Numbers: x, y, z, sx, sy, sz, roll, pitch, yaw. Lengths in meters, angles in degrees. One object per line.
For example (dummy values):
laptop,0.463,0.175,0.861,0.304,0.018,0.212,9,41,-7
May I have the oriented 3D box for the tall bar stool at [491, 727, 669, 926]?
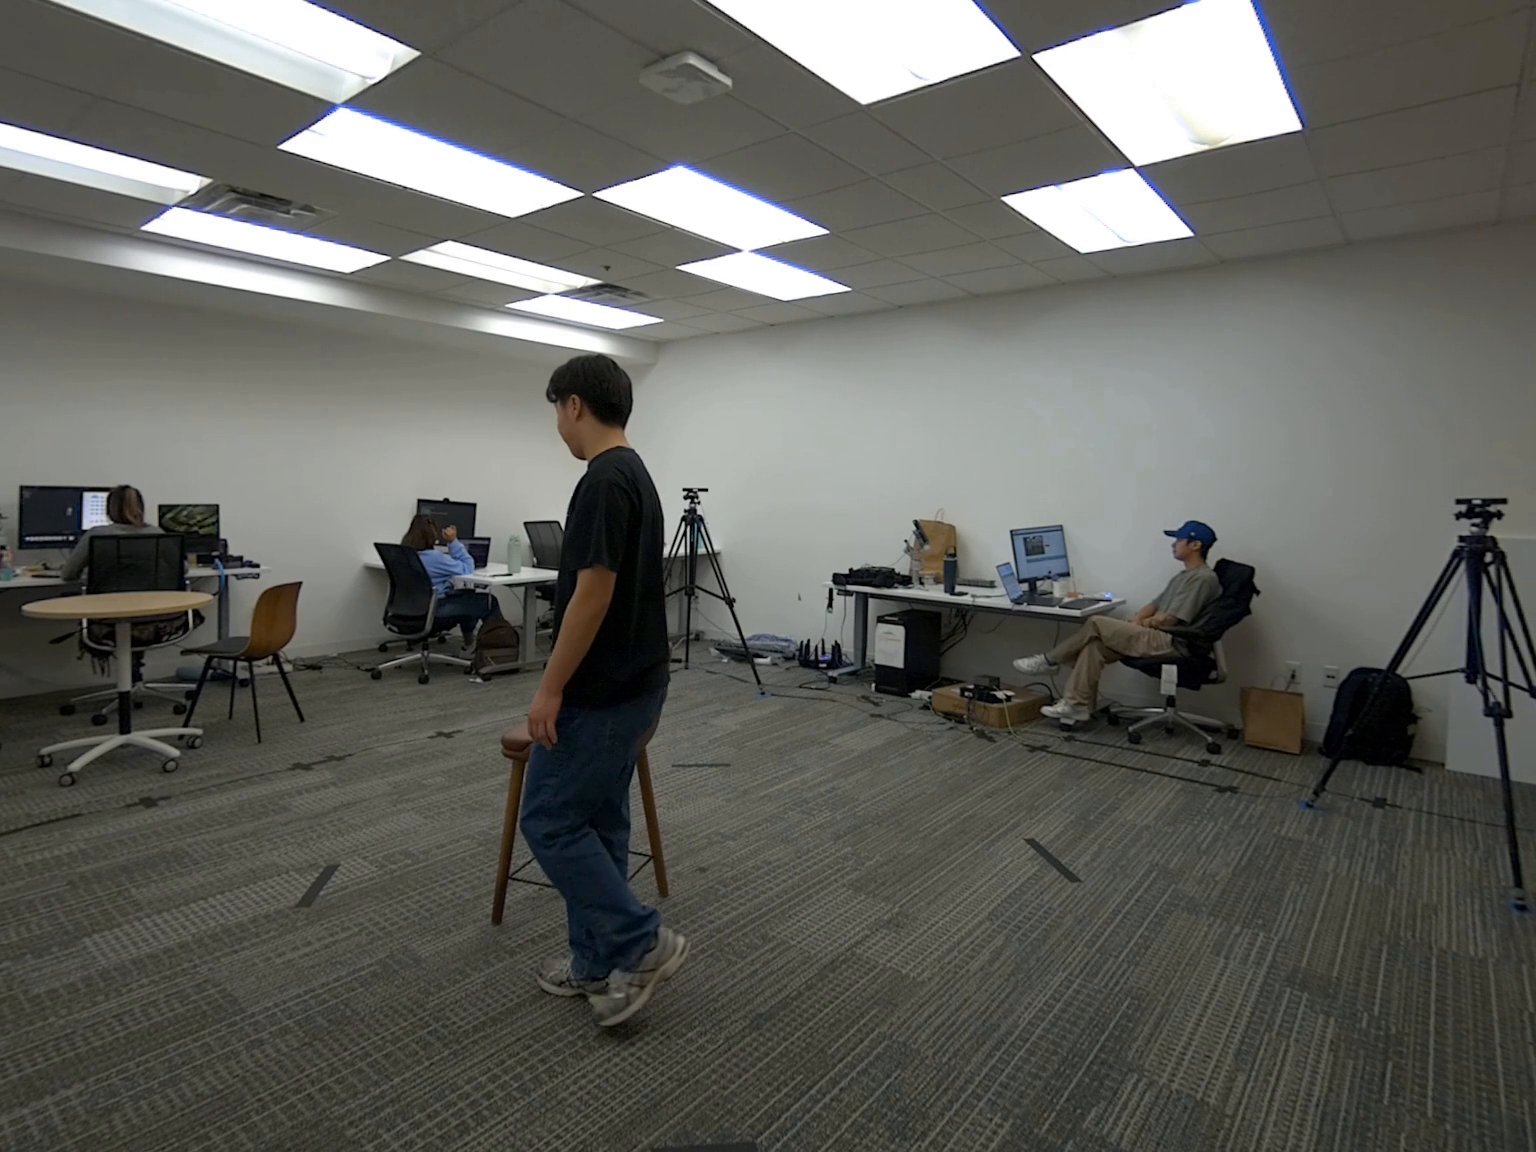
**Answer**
tall bar stool,-0.600,0.655,2.780,0.478,0.887,0.448,5,4,19
